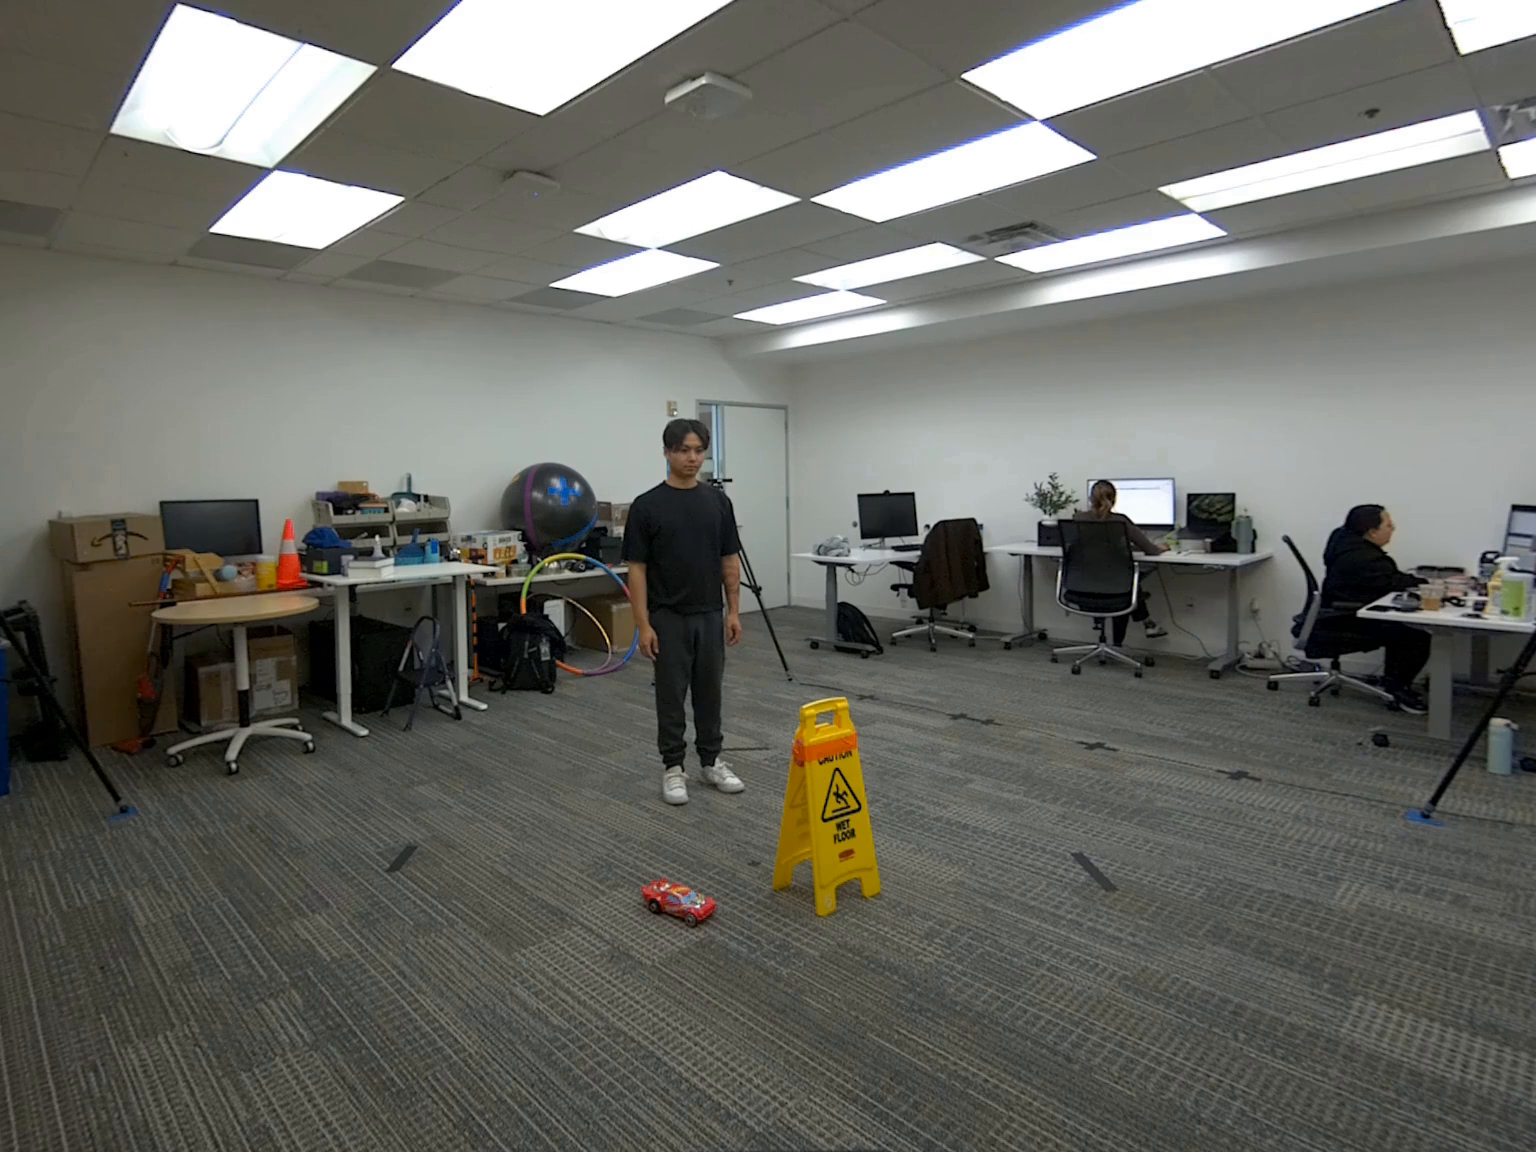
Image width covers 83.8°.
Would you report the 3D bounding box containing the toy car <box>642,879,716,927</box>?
[{"bbox_3d":[-0.292,1.067,2.773,0.263,0.082,0.127,15,14,32],"label":"toy car"}]
